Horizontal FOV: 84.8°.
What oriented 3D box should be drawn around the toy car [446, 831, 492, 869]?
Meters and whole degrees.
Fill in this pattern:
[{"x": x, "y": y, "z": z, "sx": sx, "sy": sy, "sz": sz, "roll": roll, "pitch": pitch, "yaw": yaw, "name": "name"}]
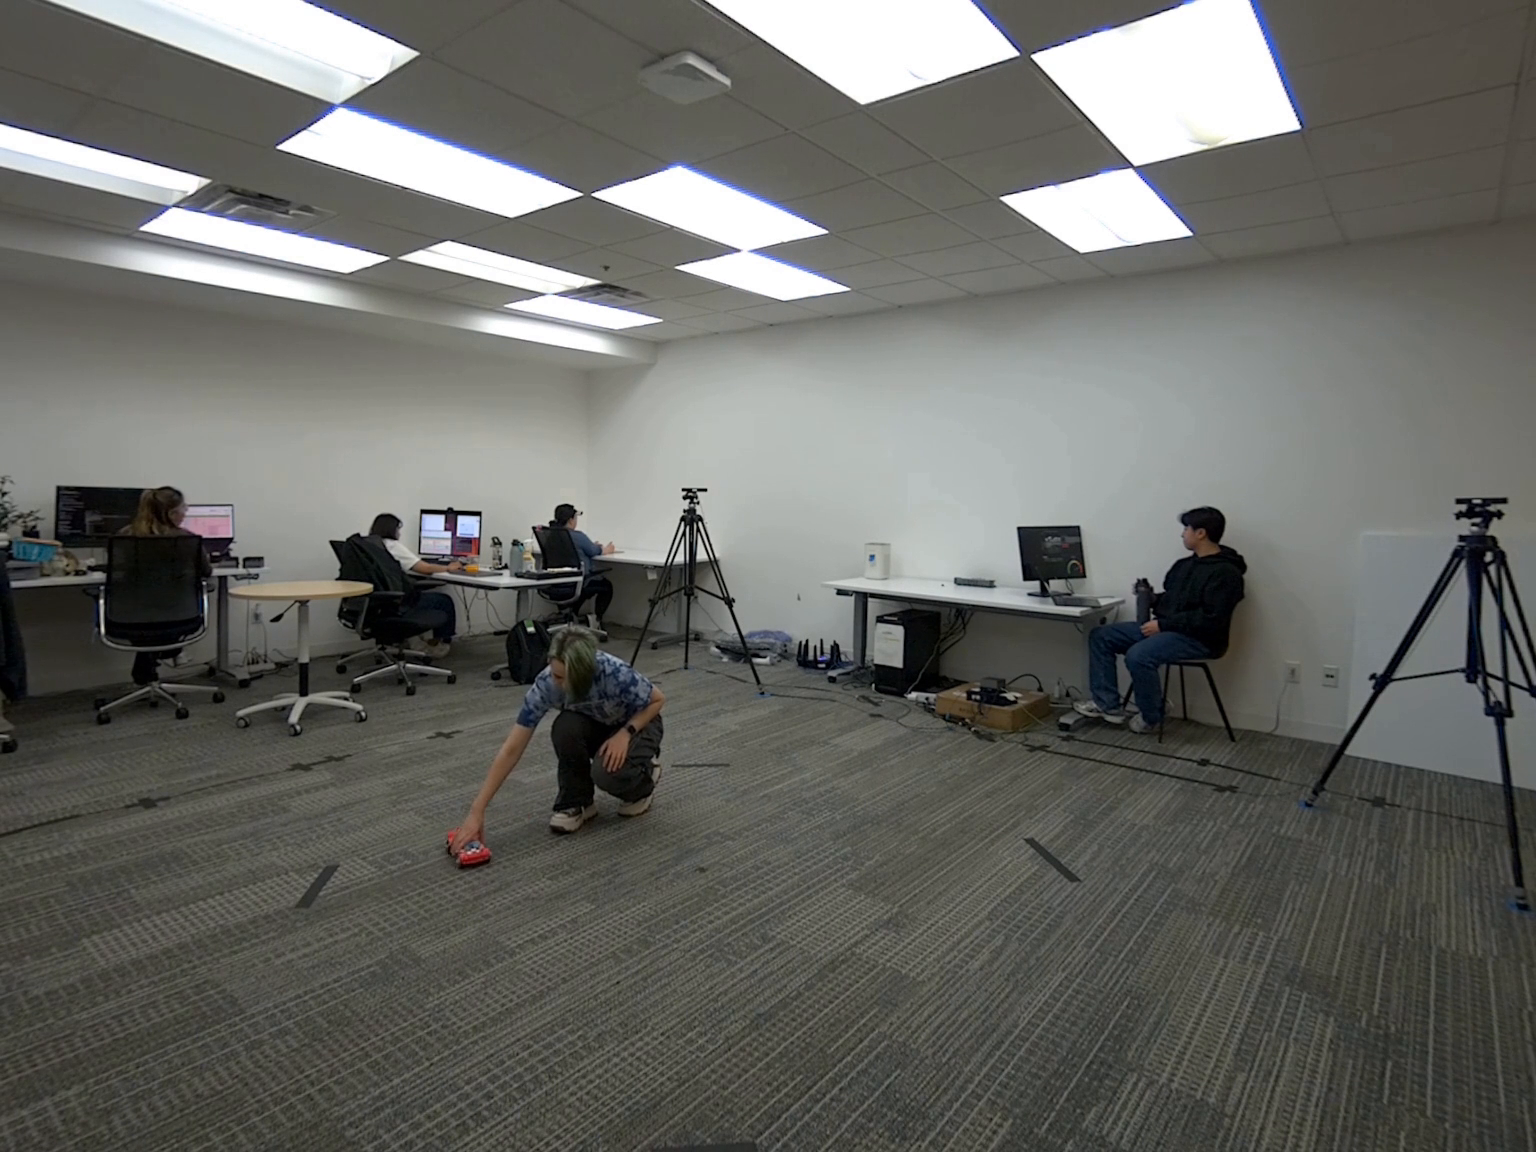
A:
[{"x": -1.142, "y": 1.018, "z": 3.193, "sx": 0.127, "sy": 0.082, "sz": 0.264, "roll": -2, "pitch": 17, "yaw": -33, "name": "toy car"}]
